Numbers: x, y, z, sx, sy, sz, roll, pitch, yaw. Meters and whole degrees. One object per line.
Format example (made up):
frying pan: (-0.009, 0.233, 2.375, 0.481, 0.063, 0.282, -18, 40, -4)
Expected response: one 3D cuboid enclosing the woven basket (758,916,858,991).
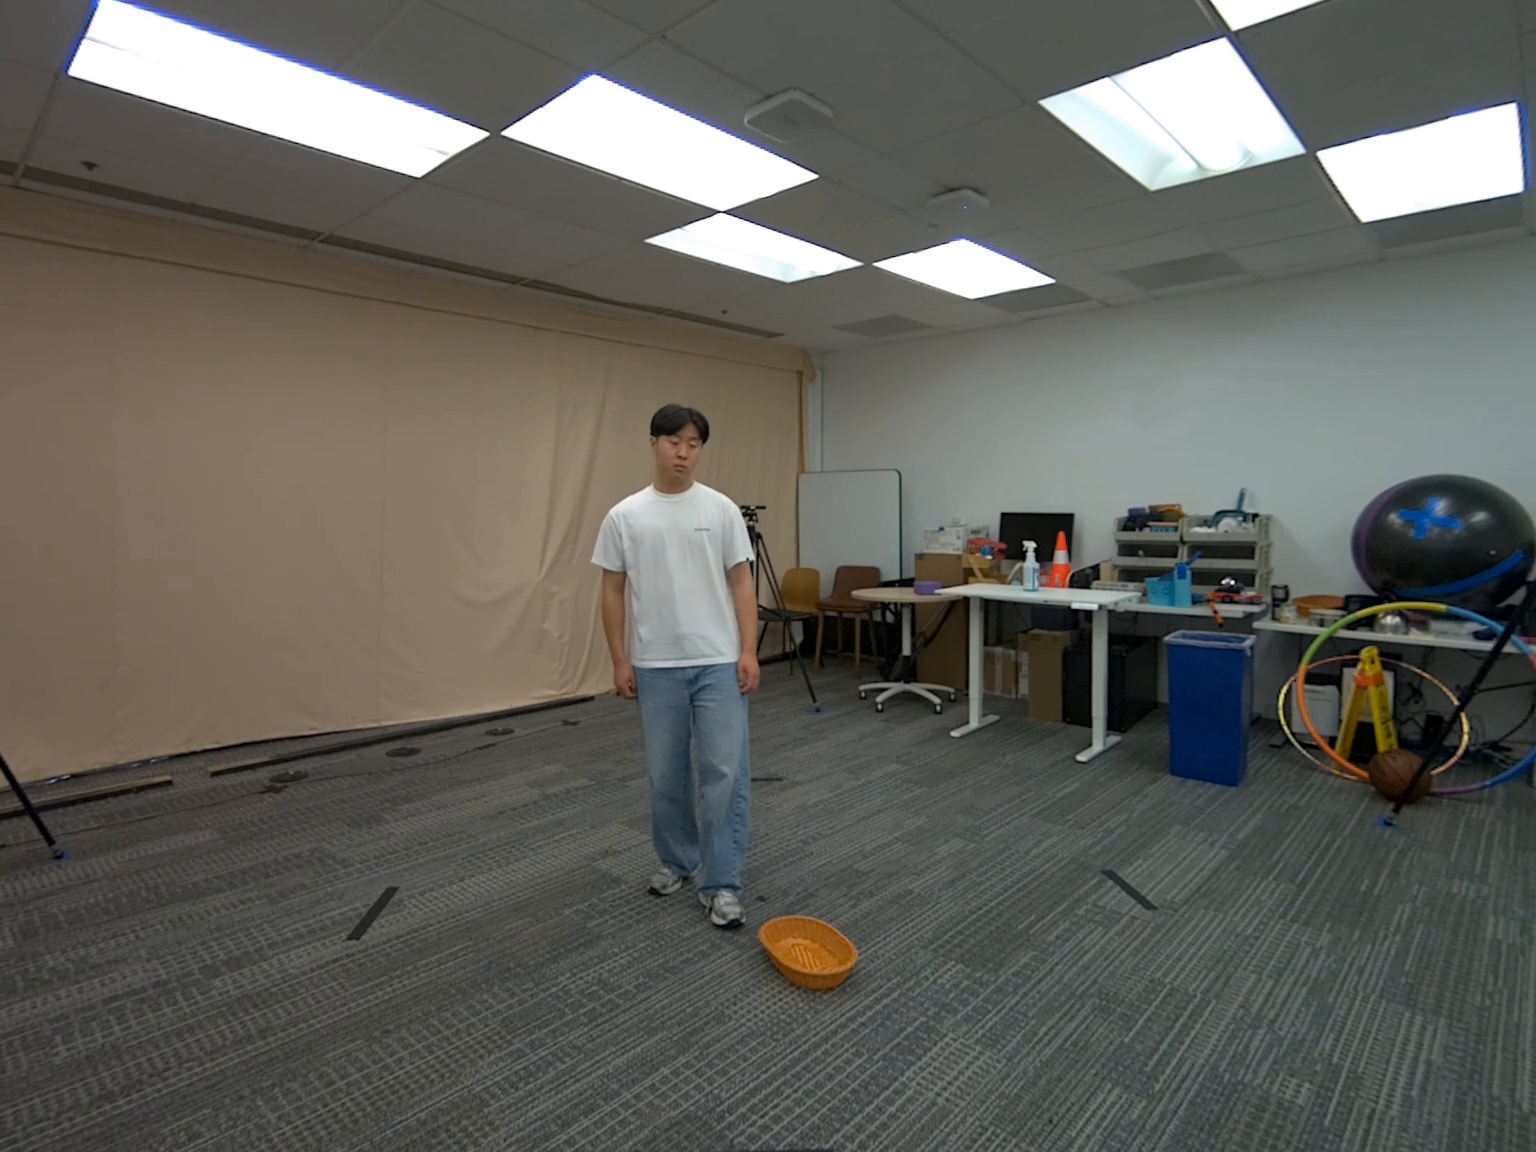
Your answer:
woven basket: (0.122, 1.139, 2.548, 0.247, 0.073, 0.358, -1, 4, -21)
